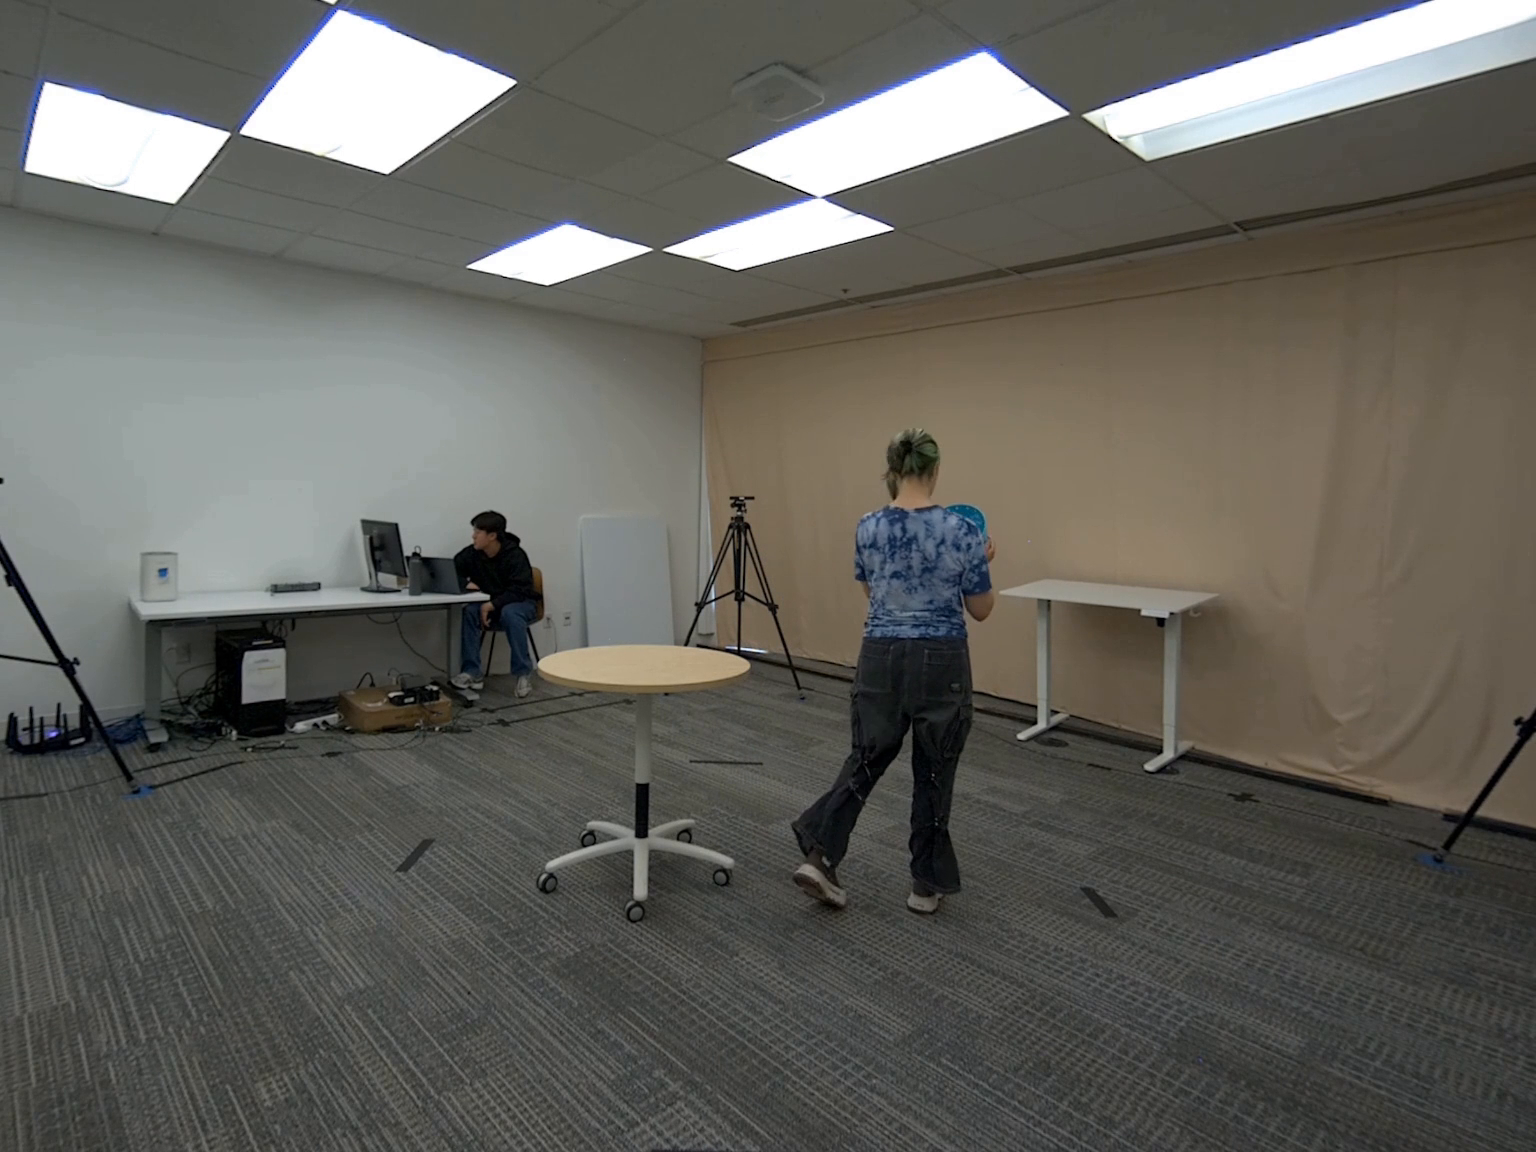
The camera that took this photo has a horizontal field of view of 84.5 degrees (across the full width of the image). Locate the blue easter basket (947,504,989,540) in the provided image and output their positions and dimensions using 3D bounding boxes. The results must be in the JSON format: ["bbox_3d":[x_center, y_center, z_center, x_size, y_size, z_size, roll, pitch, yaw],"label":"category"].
[{"bbox_3d":[0.683,-0.127,3.055,0.249,0.245,0.151,5,-32,37],"label":"blue easter basket"}]
